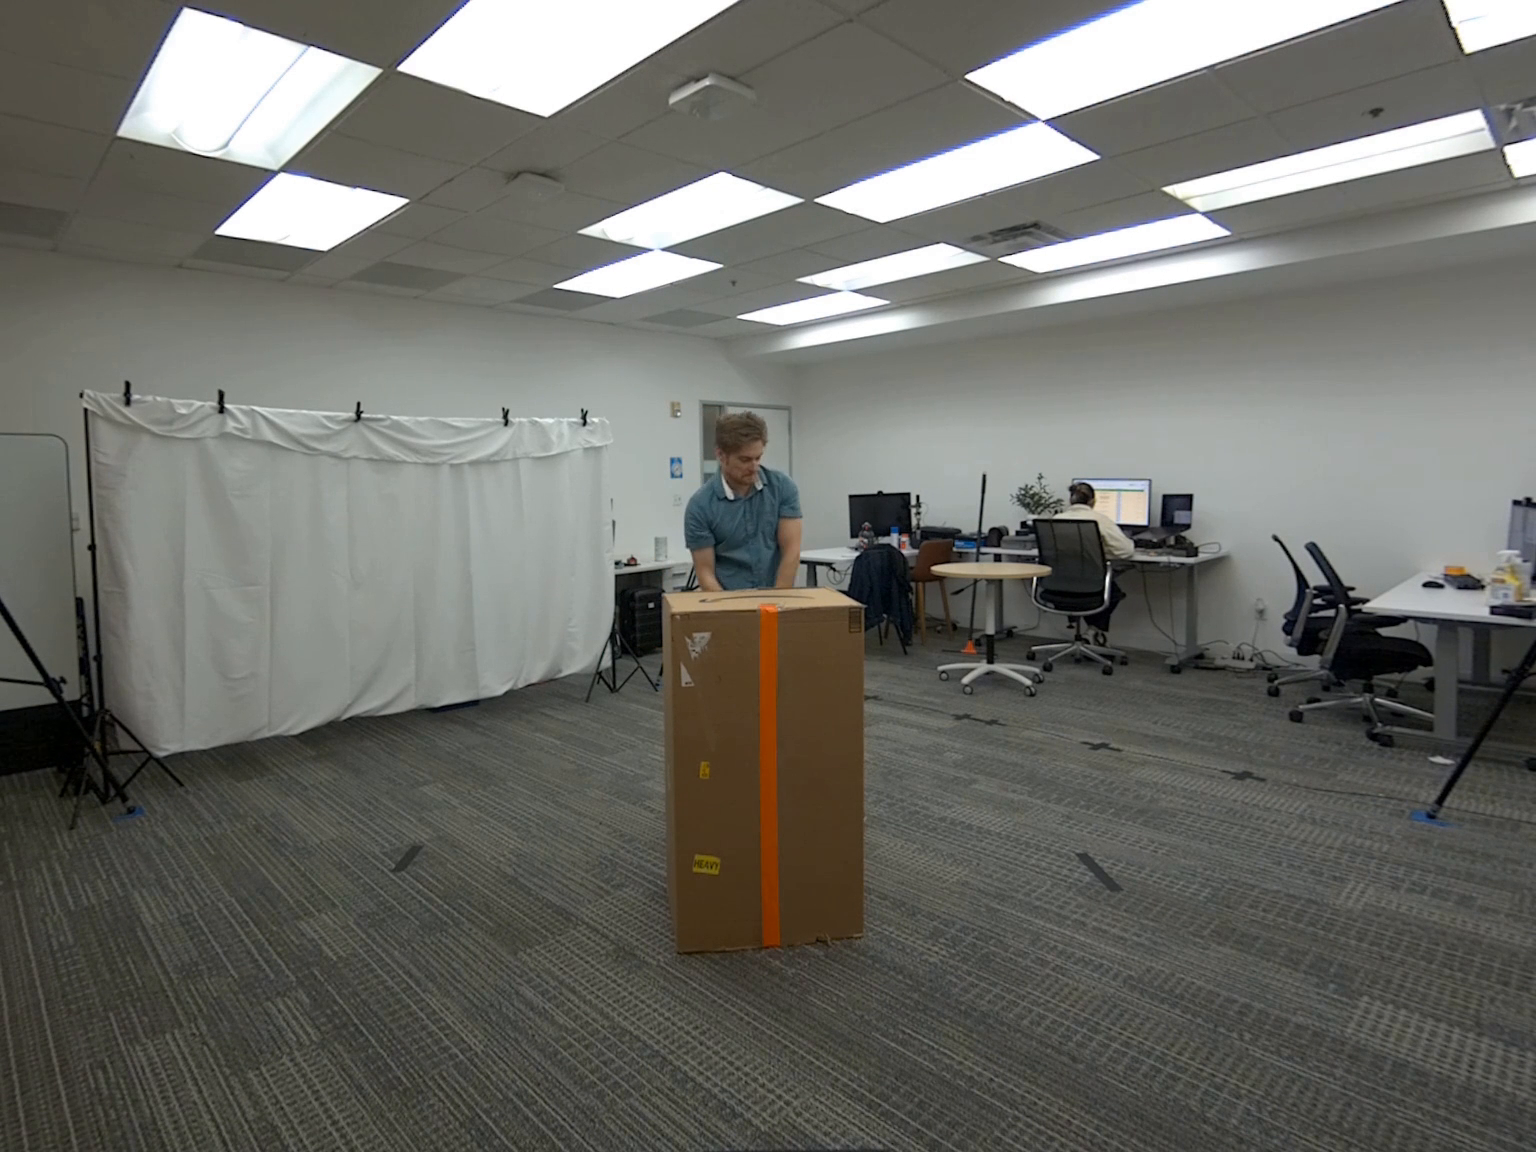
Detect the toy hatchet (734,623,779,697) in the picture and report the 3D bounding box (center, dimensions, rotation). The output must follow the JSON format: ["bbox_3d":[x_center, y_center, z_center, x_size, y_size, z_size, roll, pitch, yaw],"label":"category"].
[{"bbox_3d":[-0.043,0.319,3.301,0.030,0.128,0.273,-24,24,31],"label":"toy hatchet"}]
